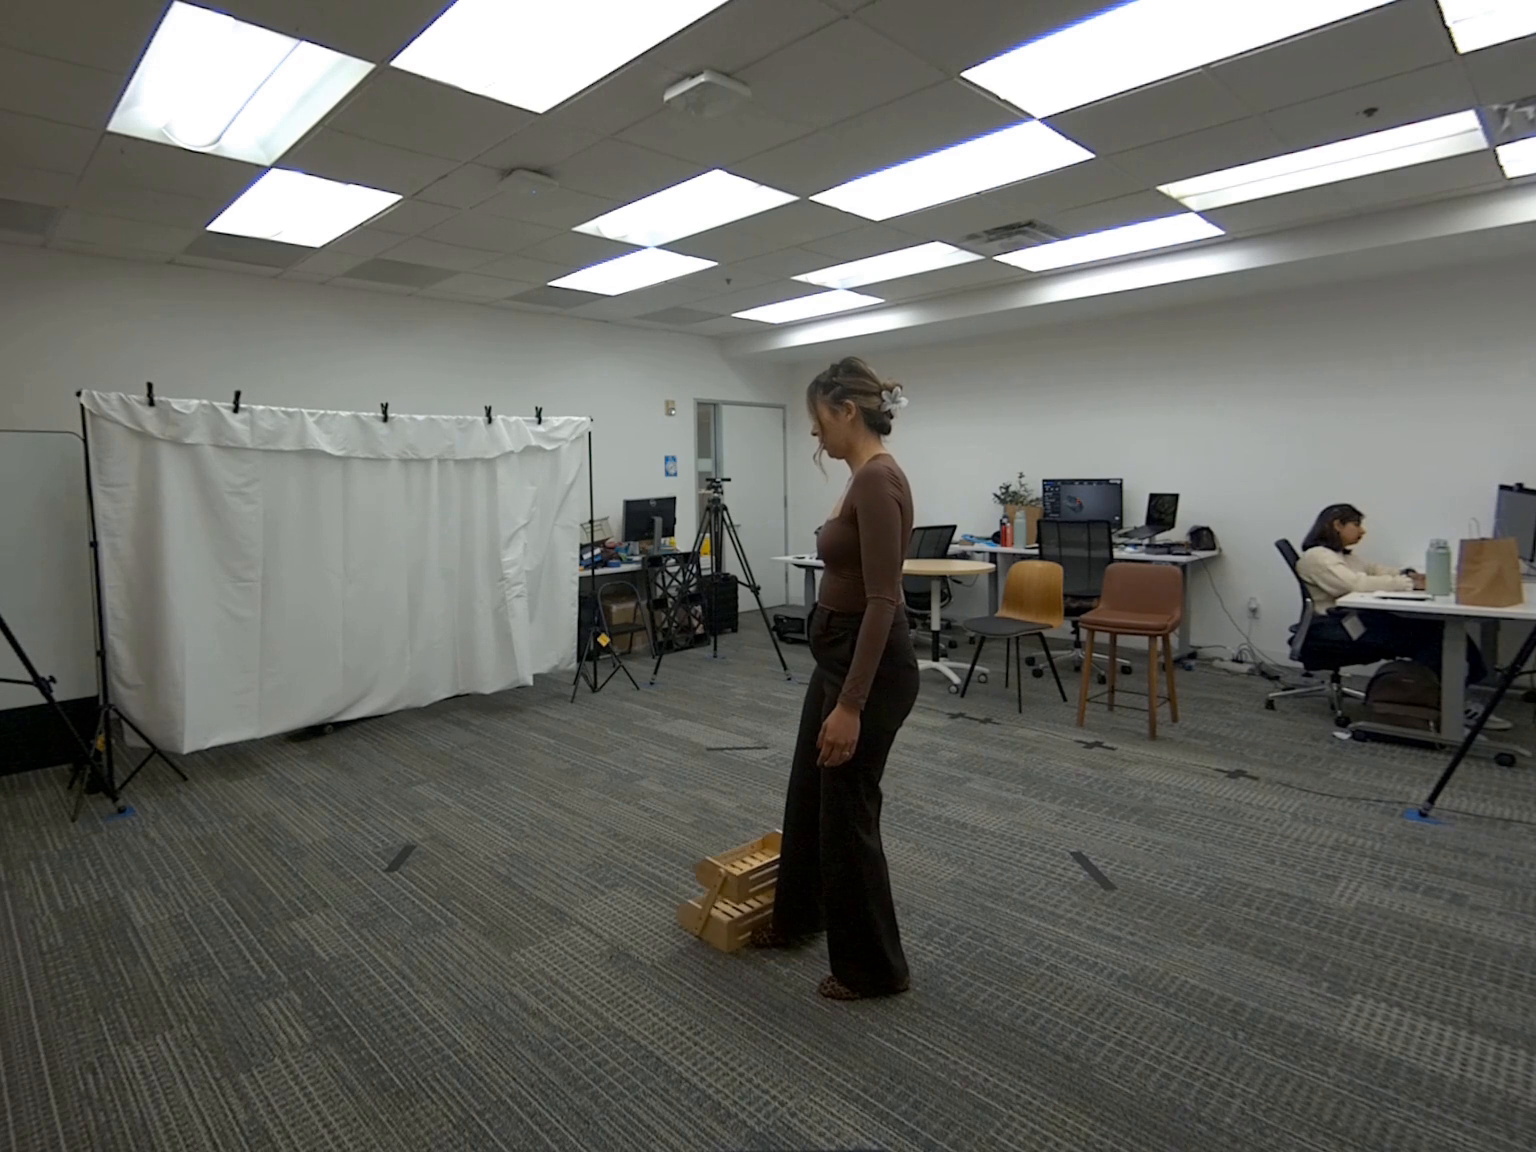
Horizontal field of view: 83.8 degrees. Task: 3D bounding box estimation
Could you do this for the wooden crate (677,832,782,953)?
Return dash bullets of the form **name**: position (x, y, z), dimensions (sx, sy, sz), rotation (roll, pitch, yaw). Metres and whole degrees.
- **wooden crate**: position (-0.078, 0.960, 2.679), dimensions (0.316, 0.272, 0.311), rotation (-6, 8, -42)
